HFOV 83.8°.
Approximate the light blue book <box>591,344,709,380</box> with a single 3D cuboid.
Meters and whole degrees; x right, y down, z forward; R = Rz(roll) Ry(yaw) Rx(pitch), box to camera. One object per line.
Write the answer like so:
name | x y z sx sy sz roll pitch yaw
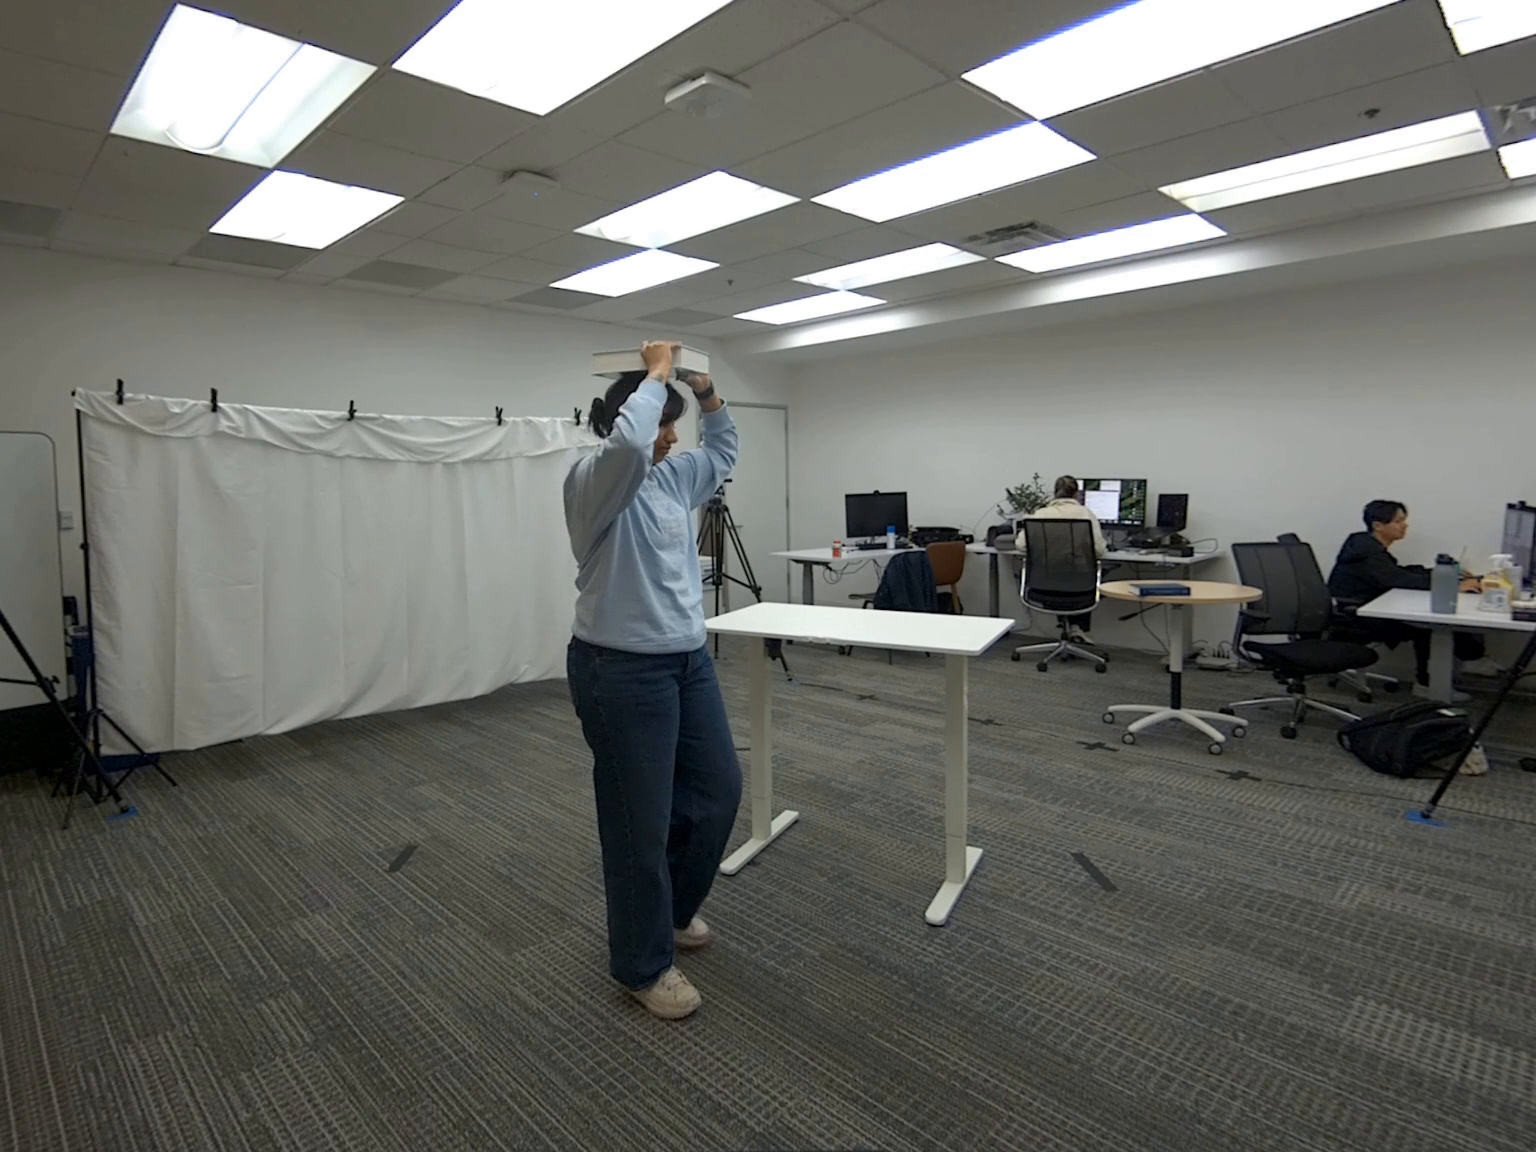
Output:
light blue book | -0.296 -0.561 2.255 0.266 0.059 0.189 2 7 17
